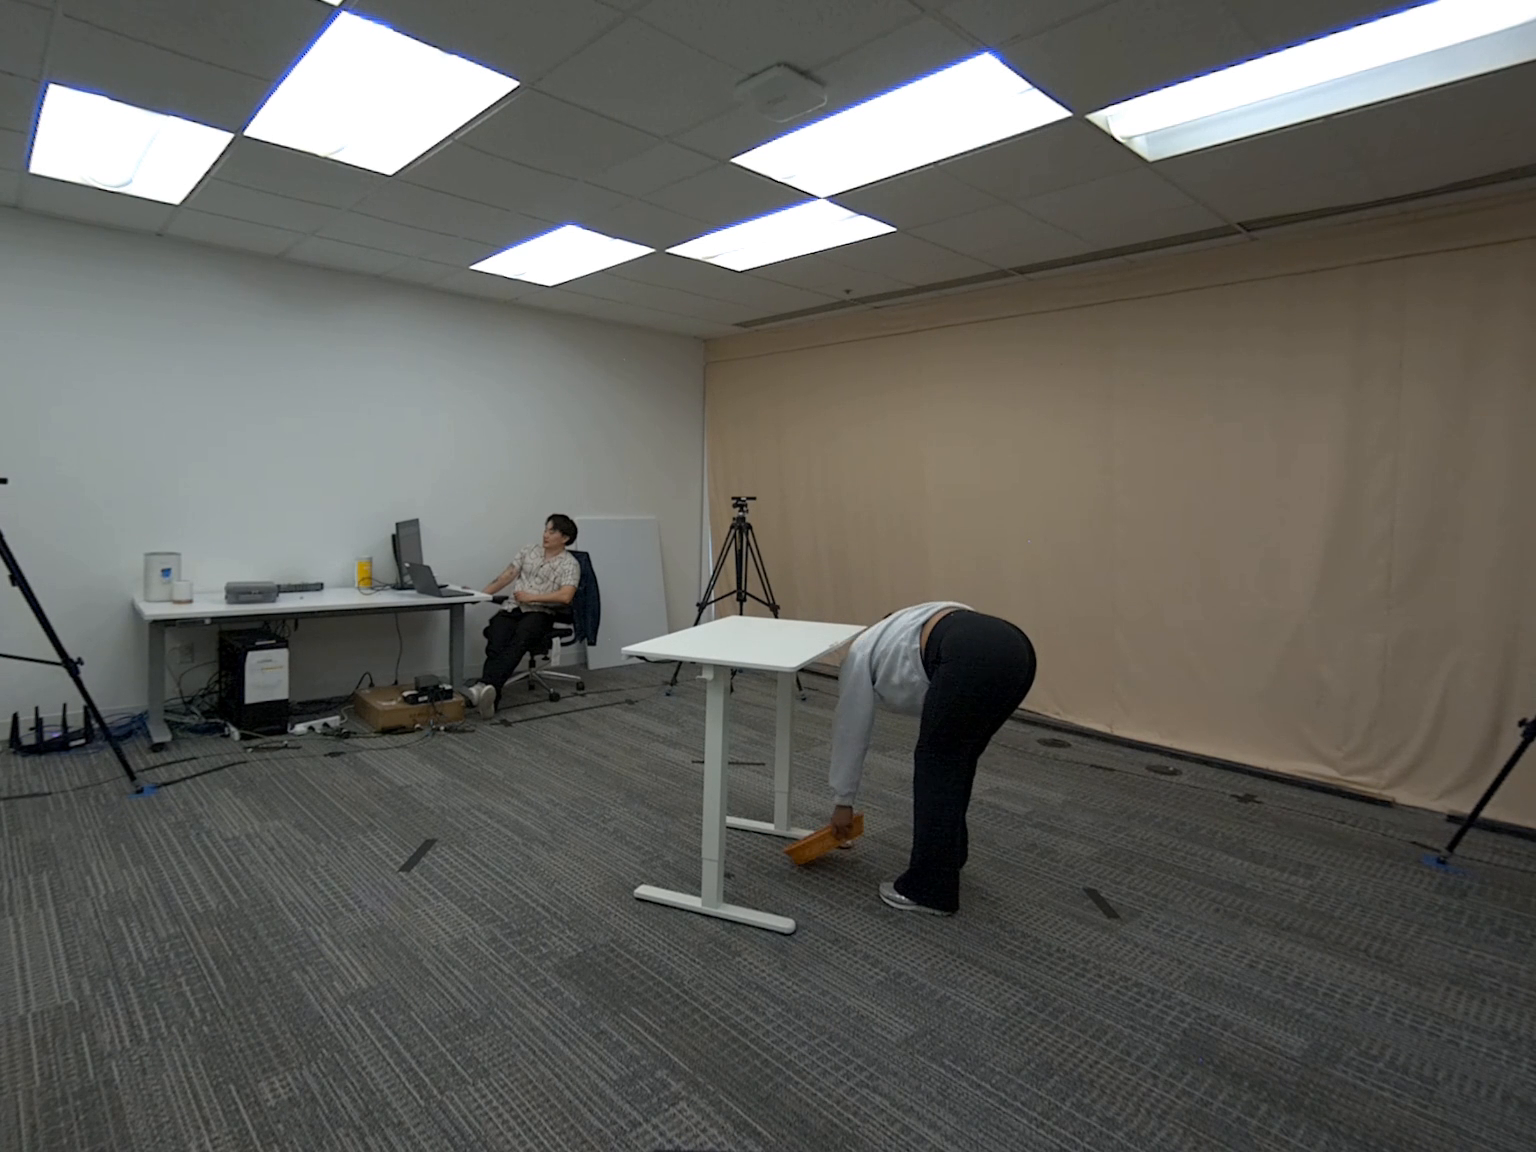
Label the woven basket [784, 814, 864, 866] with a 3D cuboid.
[{"bbox_3d":[0.226,0.987,3.207,0.350,0.074,0.248,-24,-14,0],"label":"woven basket"}]
